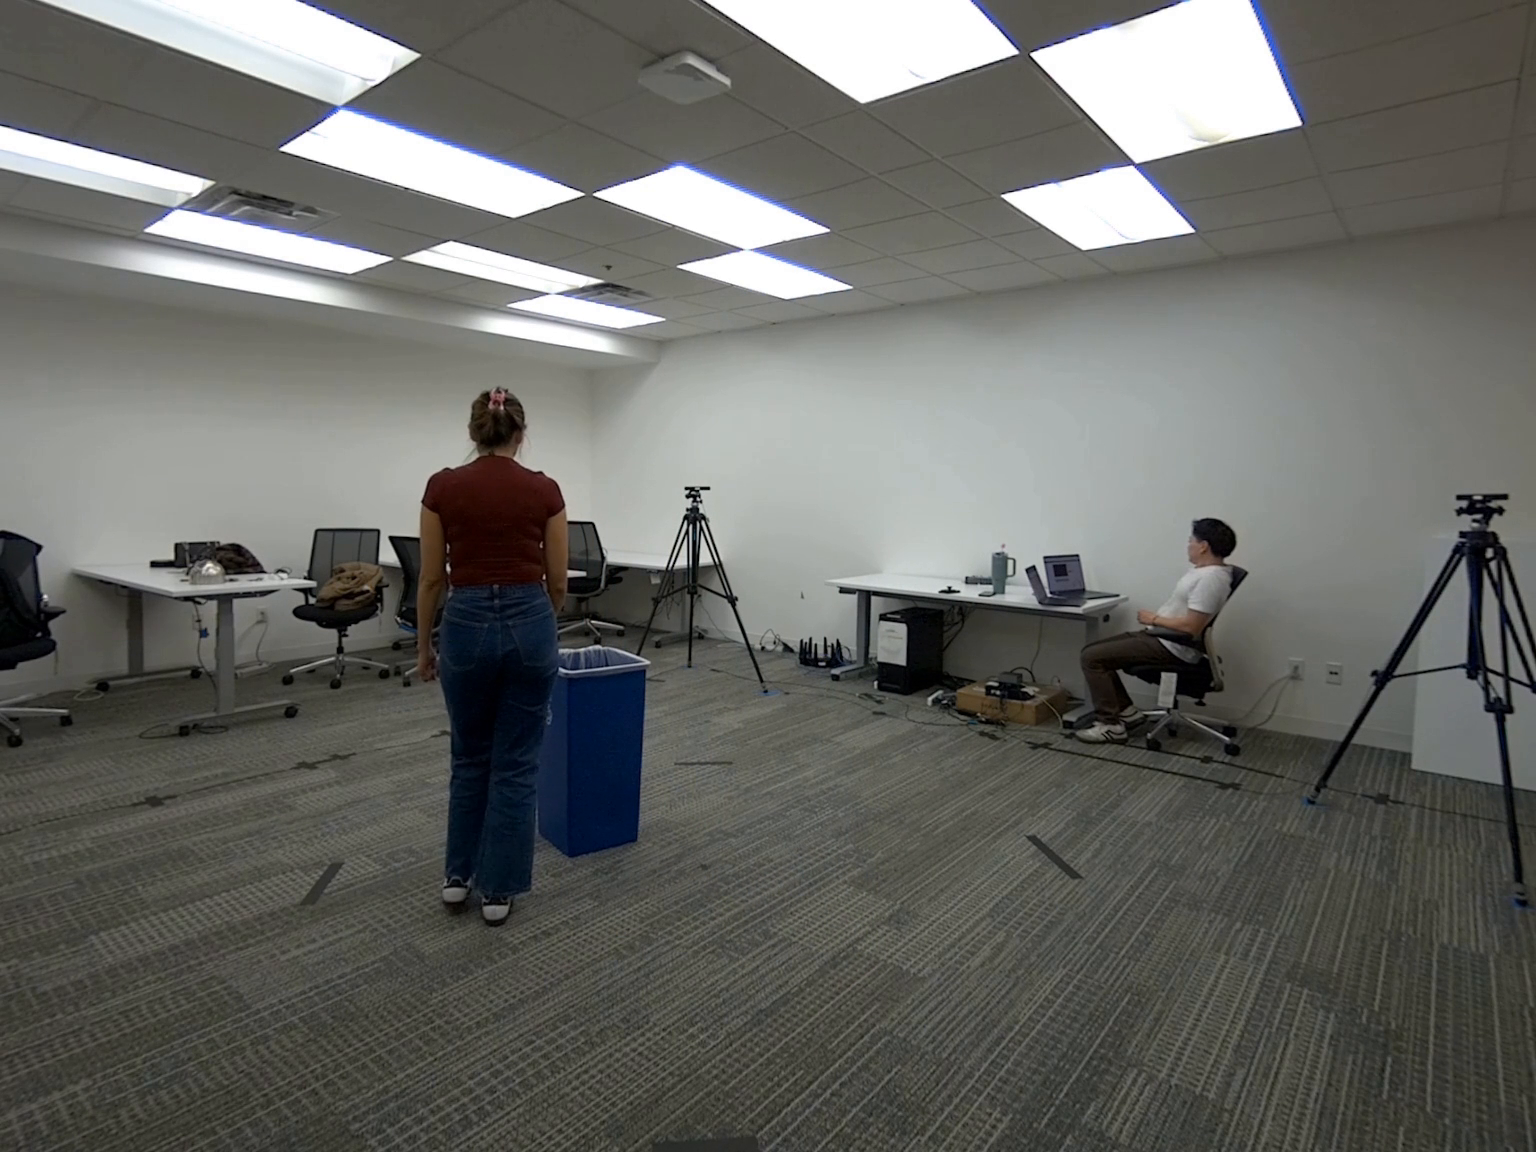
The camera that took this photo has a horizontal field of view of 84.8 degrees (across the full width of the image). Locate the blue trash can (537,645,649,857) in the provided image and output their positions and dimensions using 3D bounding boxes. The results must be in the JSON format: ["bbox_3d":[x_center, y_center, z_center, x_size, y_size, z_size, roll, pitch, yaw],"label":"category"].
[{"bbox_3d":[-0.716,0.676,3.362,0.367,0.711,0.386,-2,4,-38],"label":"blue trash can"}]
